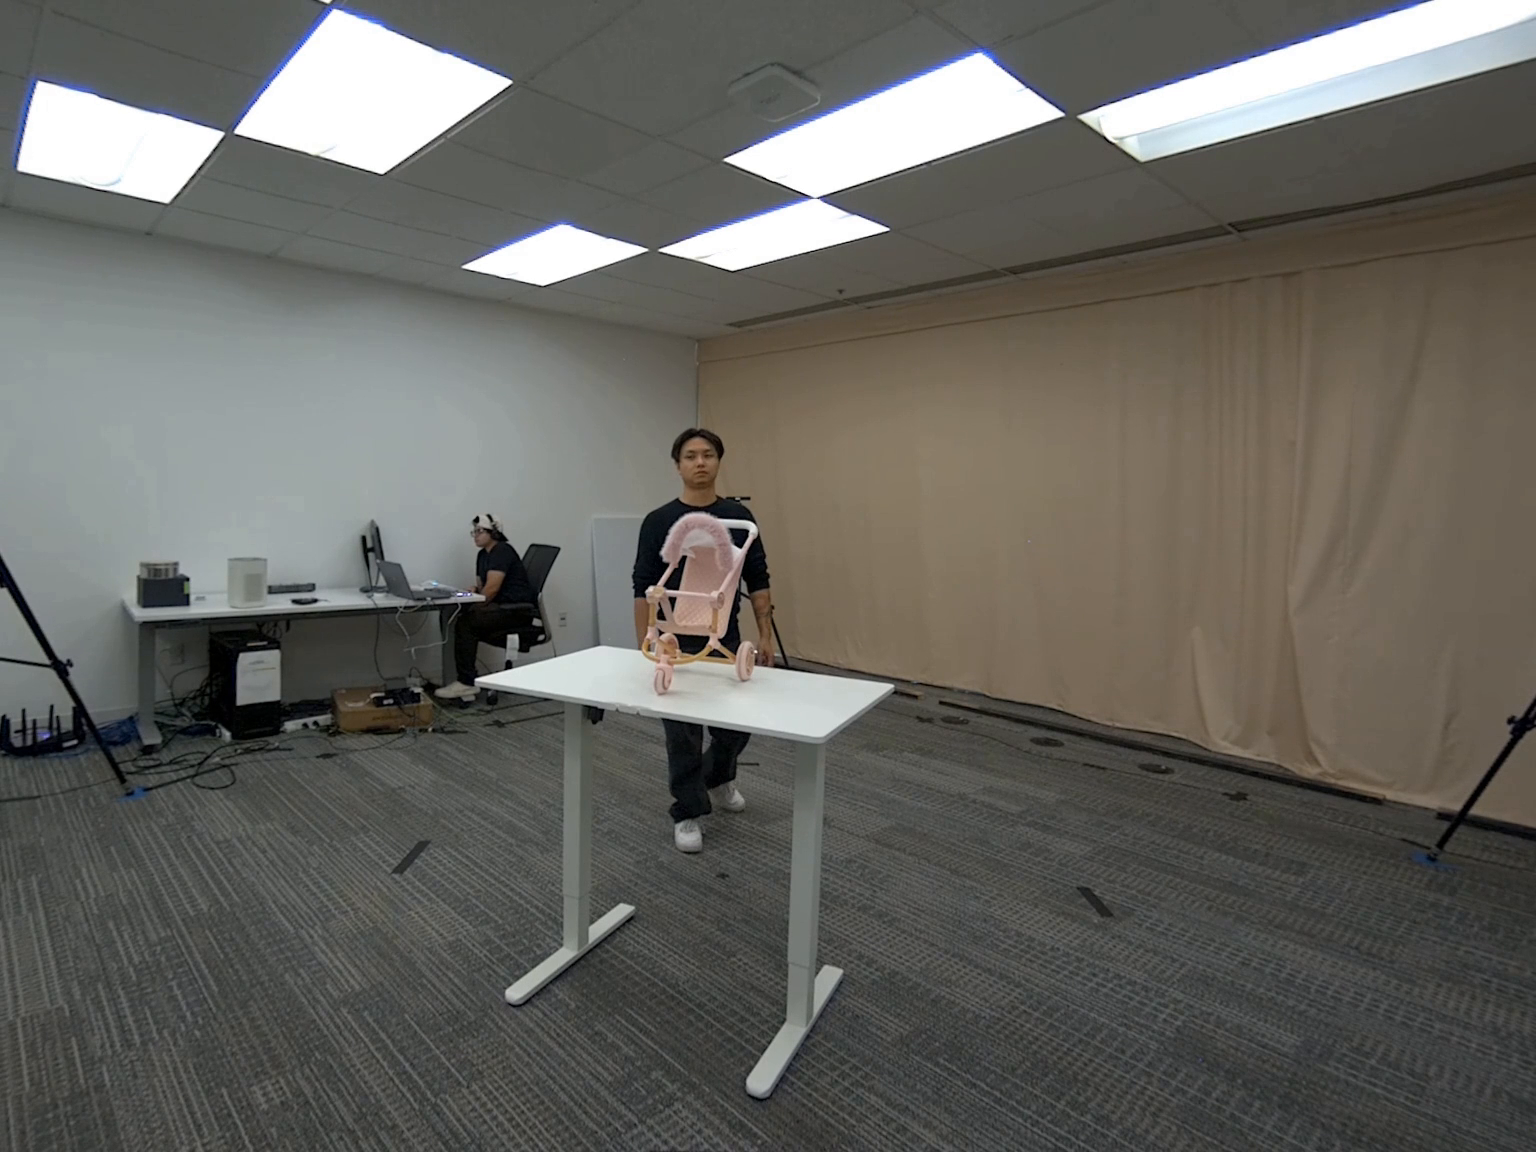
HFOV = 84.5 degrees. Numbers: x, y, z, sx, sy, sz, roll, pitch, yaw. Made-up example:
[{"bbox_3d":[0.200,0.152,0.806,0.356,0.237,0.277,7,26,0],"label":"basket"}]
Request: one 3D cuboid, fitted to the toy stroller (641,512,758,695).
[{"bbox_3d":[-0.209,0.069,2.334,0.287,0.538,0.332,3,-9,26],"label":"toy stroller"}]
